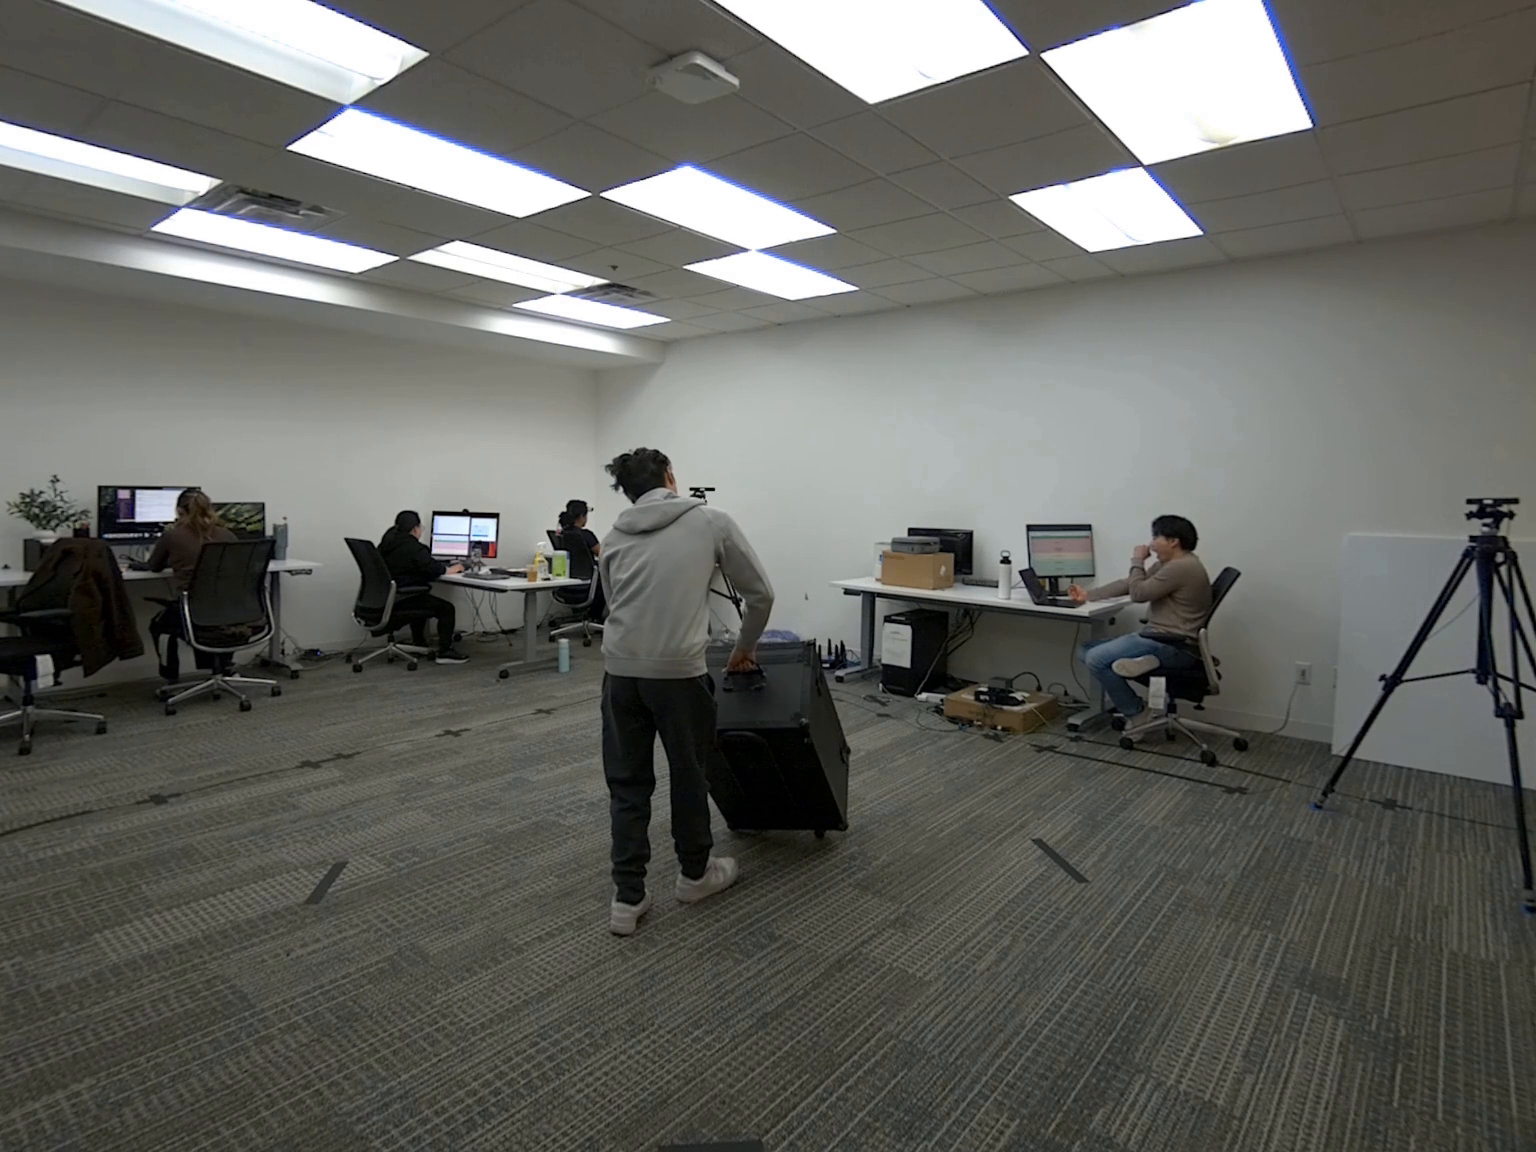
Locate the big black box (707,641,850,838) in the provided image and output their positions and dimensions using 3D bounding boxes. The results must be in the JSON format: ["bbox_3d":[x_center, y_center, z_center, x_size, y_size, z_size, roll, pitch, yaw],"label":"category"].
[{"bbox_3d":[-0.010,0.618,3.232,0.529,0.406,0.829,-5,-44,14],"label":"big black box"}]
